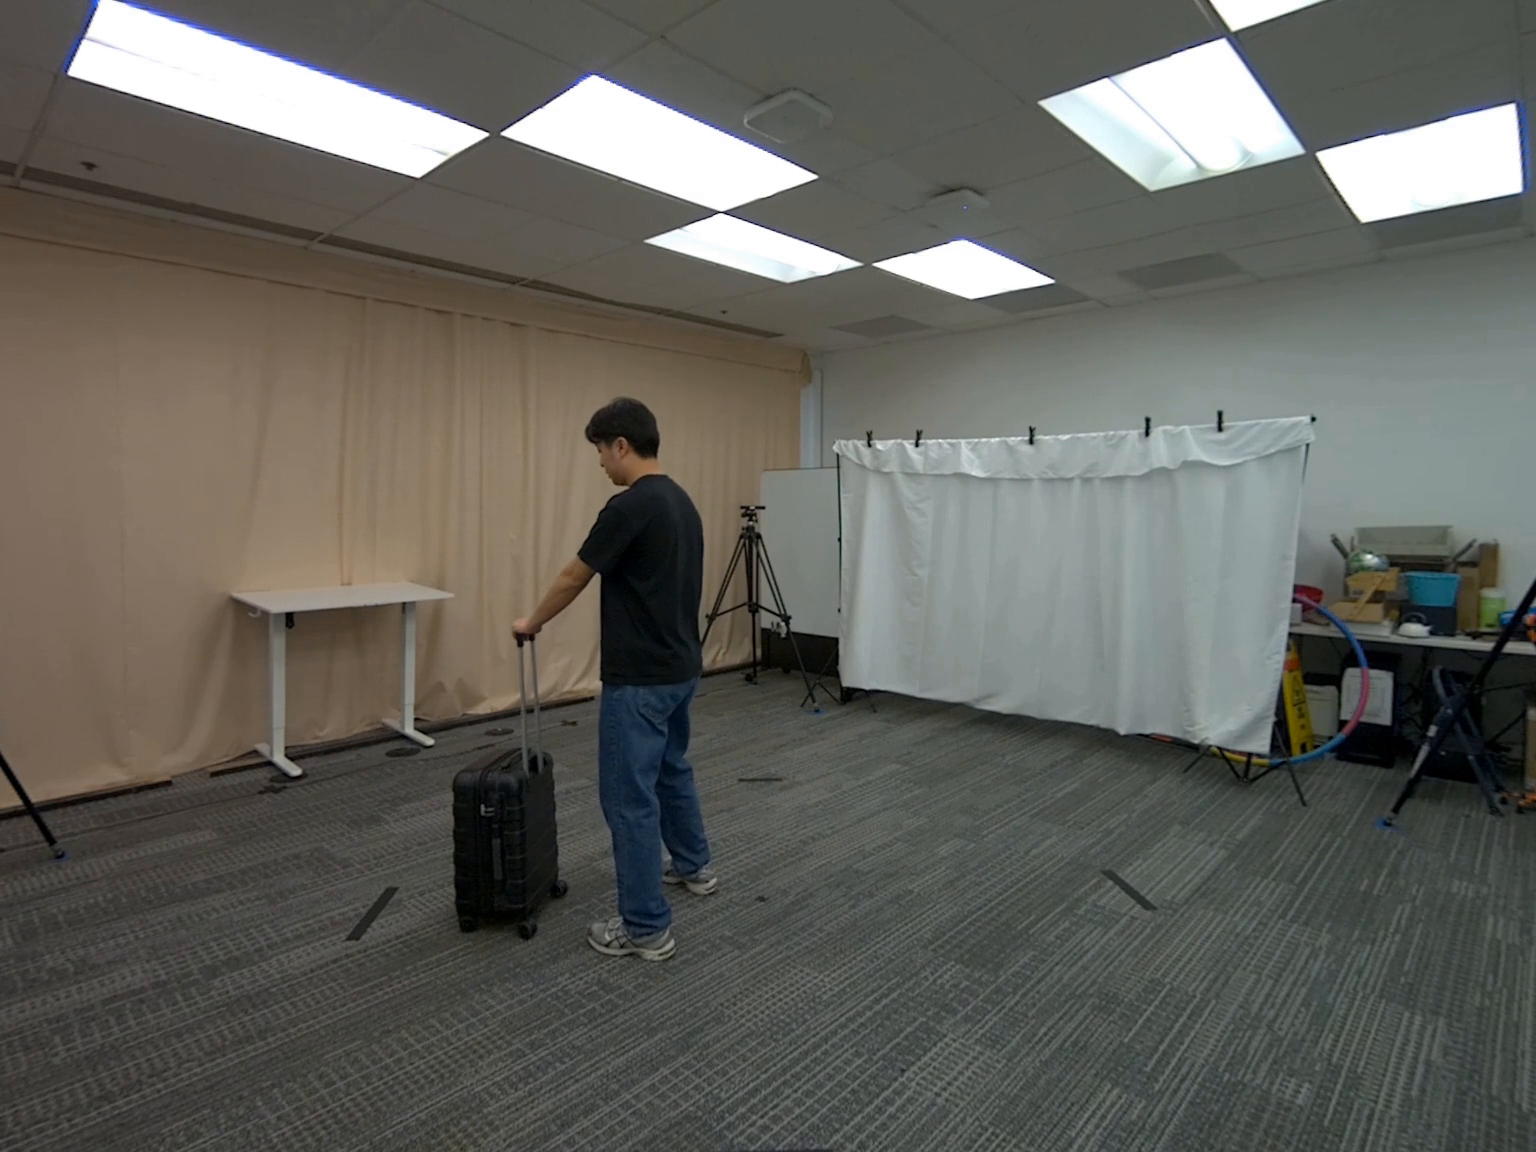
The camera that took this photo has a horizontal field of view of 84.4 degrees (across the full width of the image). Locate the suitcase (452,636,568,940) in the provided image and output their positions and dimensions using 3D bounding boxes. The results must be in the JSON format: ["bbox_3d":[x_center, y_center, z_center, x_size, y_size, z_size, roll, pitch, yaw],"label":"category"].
[{"bbox_3d":[-0.918,0.692,2.882,0.259,0.977,0.381,-4,2,8],"label":"suitcase"}]
